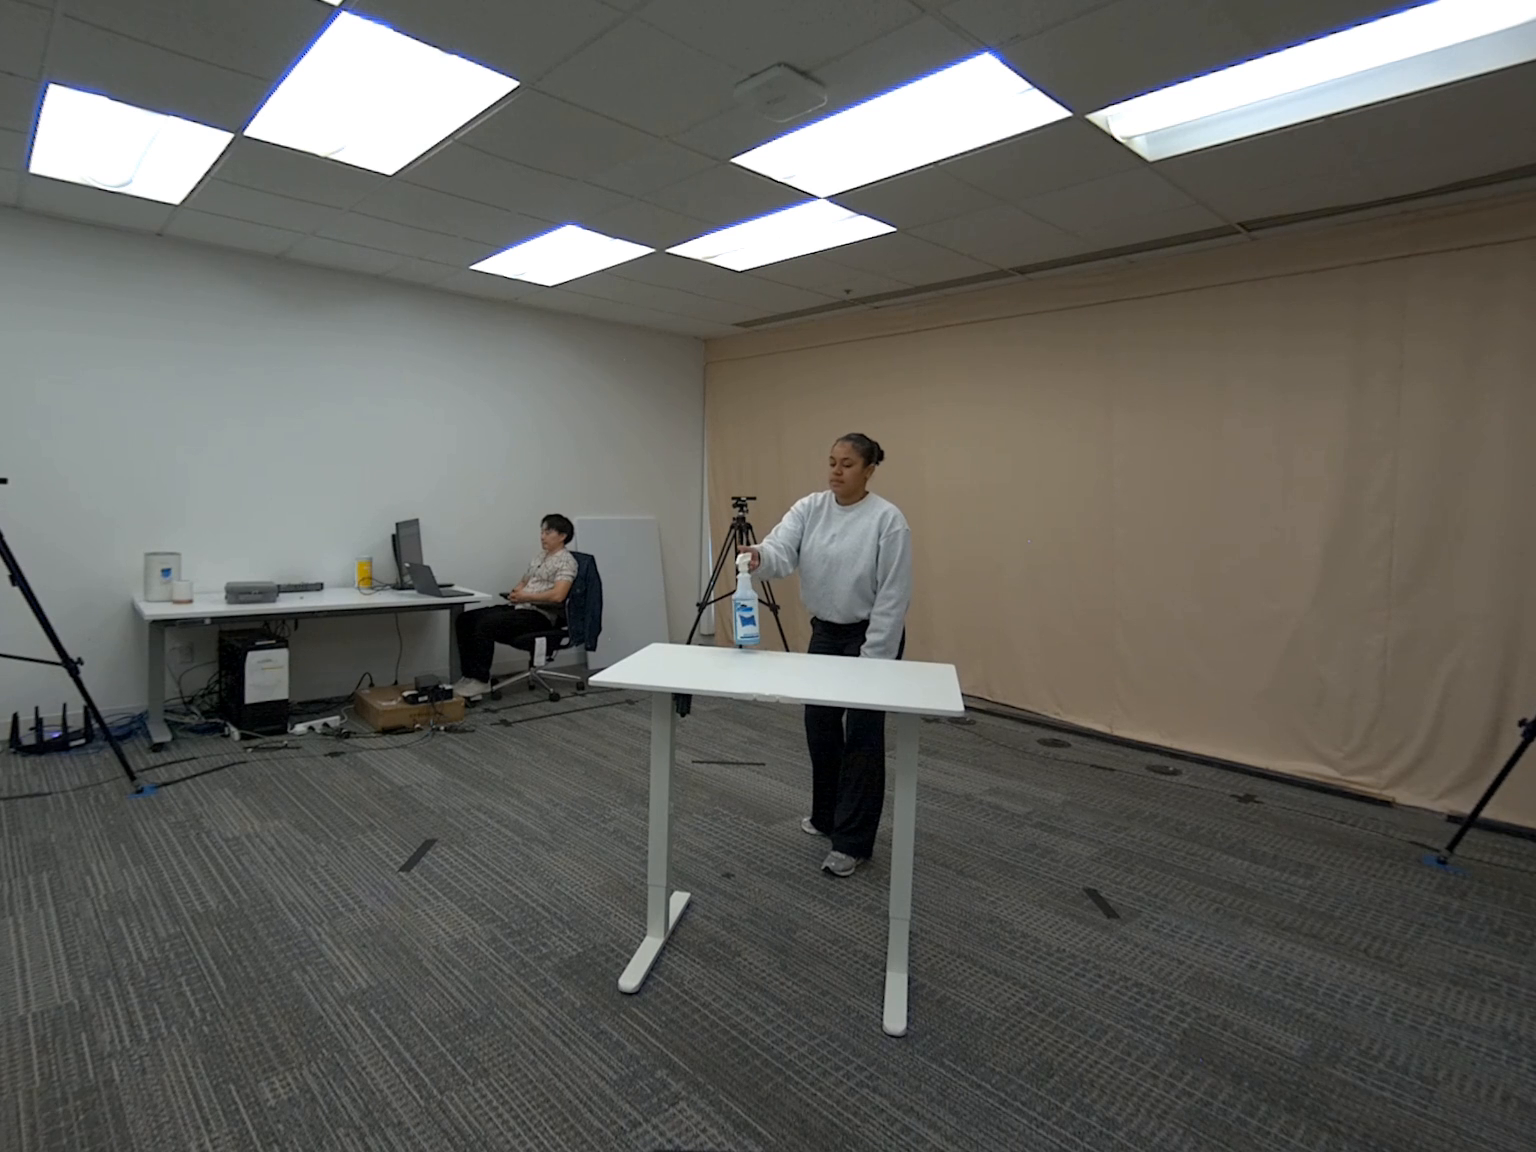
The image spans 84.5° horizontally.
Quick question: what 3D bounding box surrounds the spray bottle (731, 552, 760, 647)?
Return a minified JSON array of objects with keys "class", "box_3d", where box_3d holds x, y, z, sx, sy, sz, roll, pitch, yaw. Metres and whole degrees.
[{"class":"spray bottle","box_3d":[-0.079,0.078,2.791,0.088,0.297,0.089,-2,1,-41]}]
